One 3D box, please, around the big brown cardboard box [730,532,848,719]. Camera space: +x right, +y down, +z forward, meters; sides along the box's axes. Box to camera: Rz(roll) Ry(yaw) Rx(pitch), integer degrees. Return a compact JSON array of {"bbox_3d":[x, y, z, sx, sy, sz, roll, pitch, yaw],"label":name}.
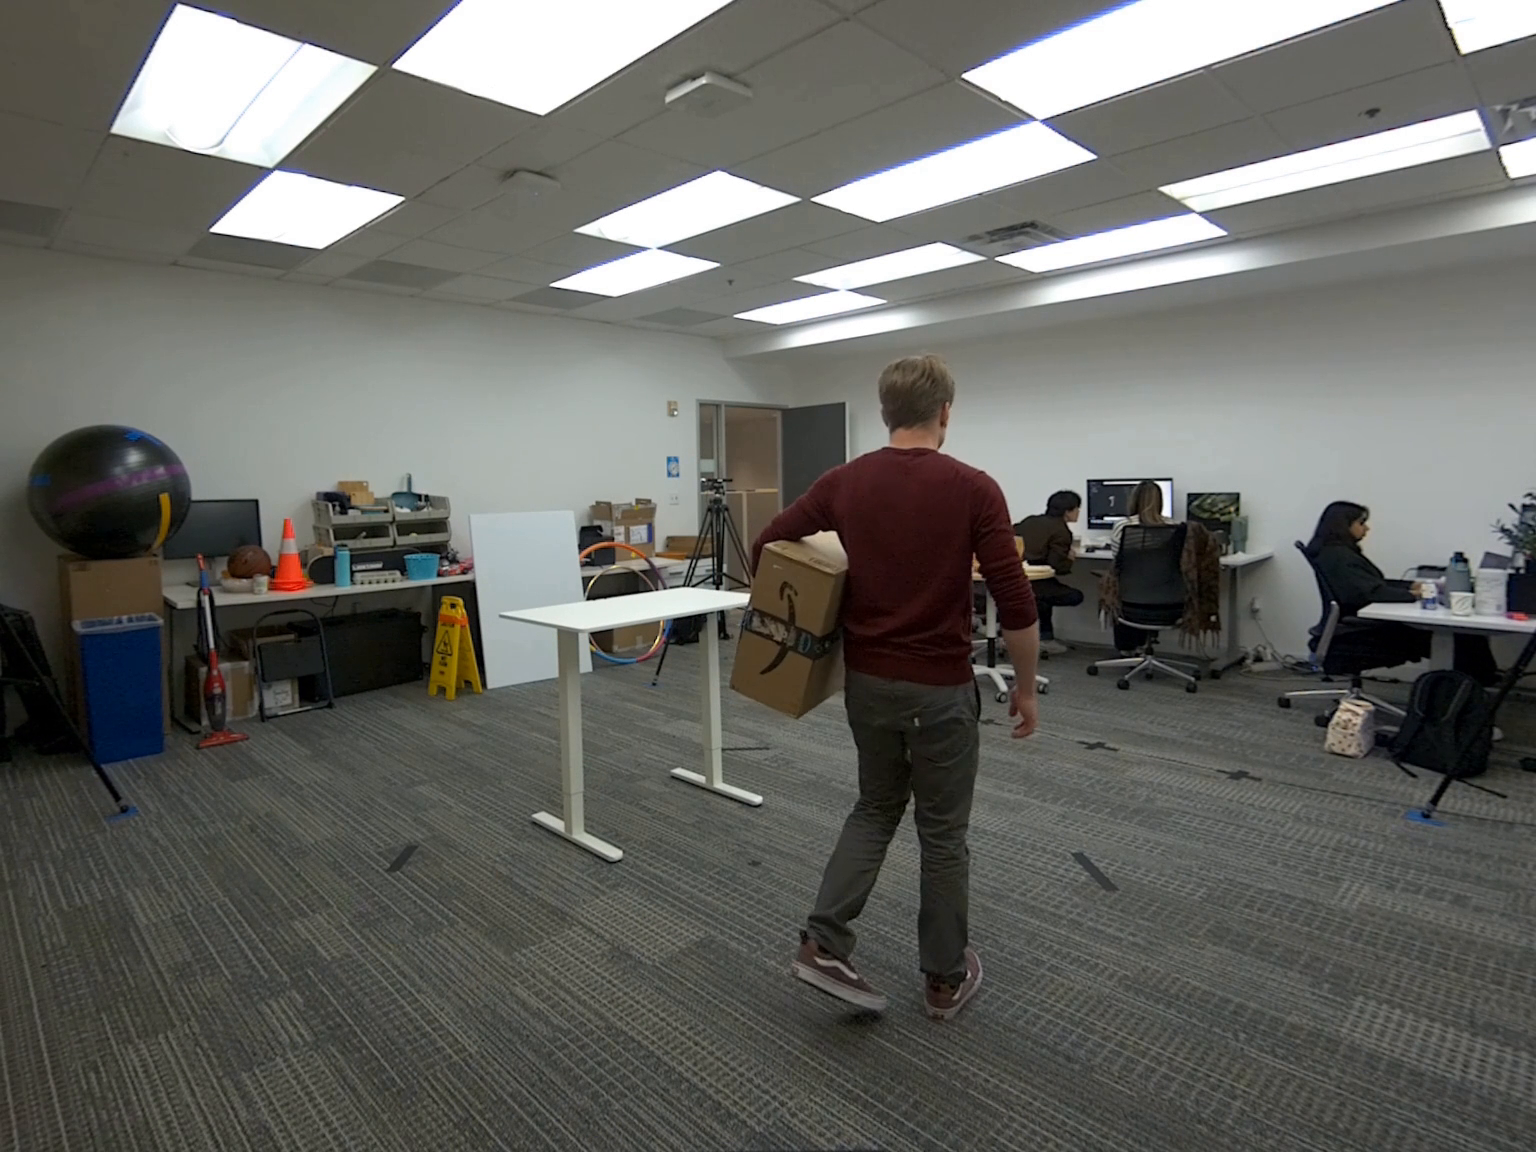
[{"bbox_3d":[0.158,0.110,2.450,0.240,0.414,0.577,20,16,25],"label":"big brown cardboard box"}]
